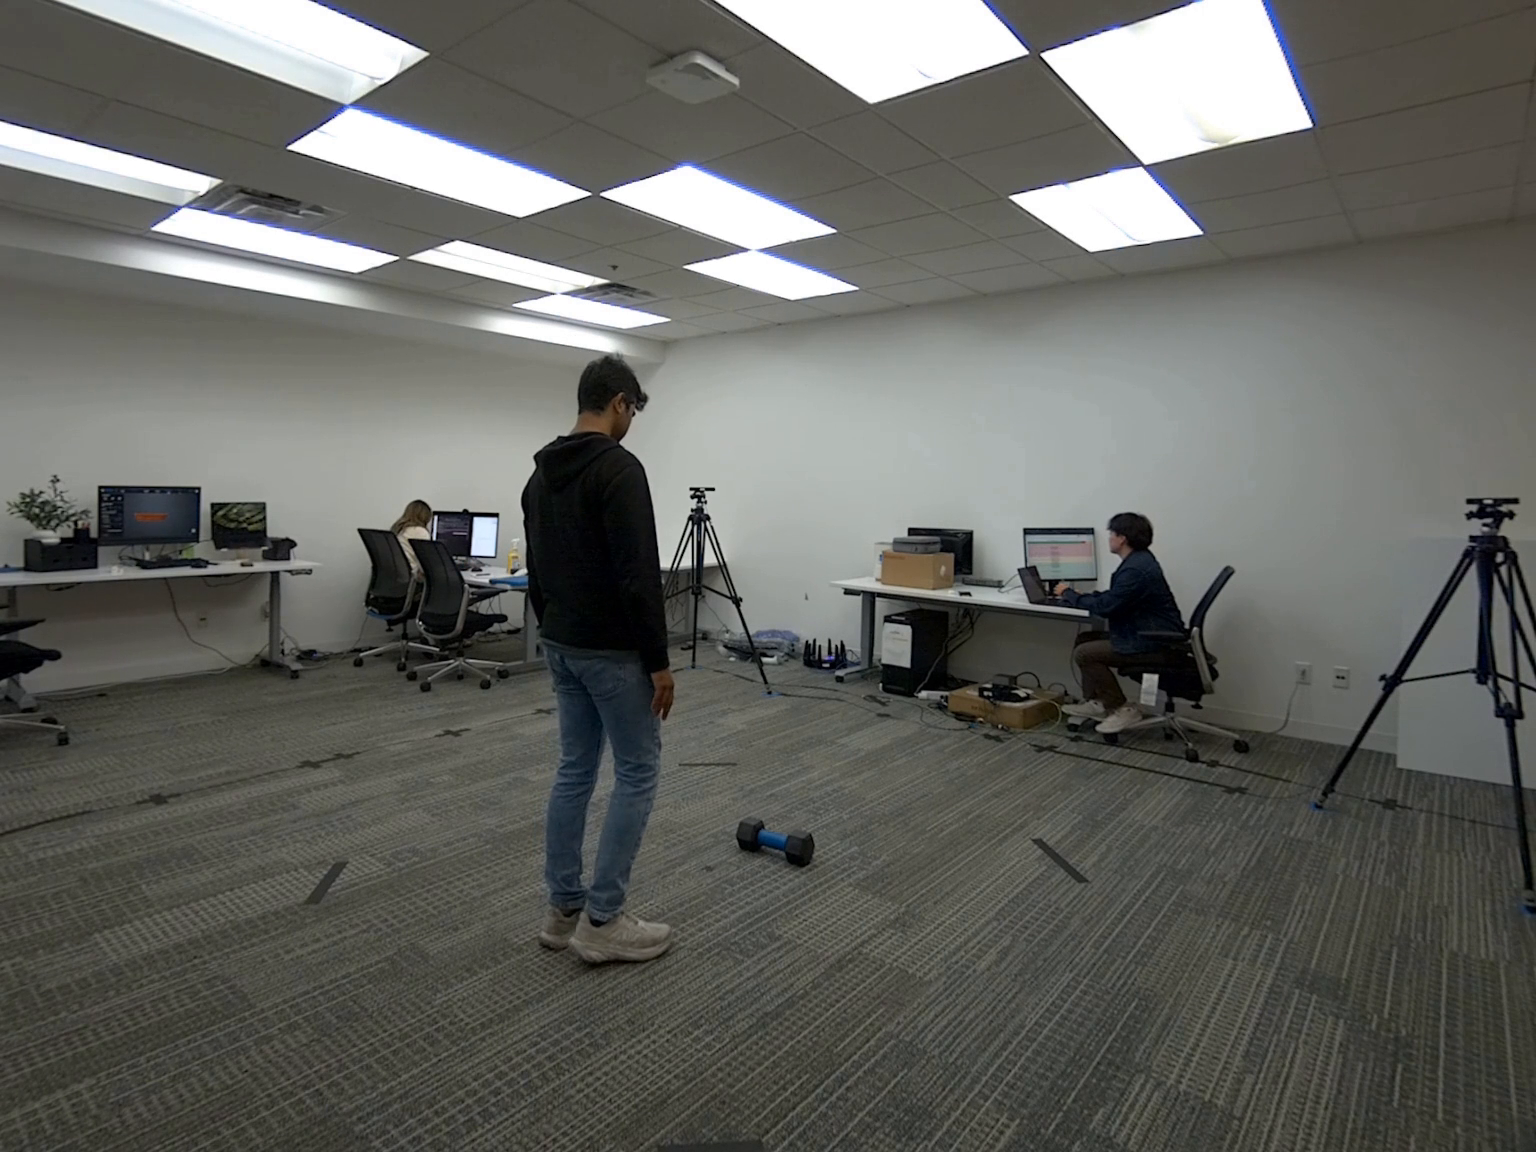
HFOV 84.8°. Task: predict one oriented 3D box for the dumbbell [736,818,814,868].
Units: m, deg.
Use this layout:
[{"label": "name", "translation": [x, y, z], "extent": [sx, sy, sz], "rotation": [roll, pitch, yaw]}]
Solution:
[{"label": "dumbbell", "translation": [0.015, 1.003, 3.238], "extent": [0.302, 0.119, 0.109], "rotation": [5, 36, 32]}]
